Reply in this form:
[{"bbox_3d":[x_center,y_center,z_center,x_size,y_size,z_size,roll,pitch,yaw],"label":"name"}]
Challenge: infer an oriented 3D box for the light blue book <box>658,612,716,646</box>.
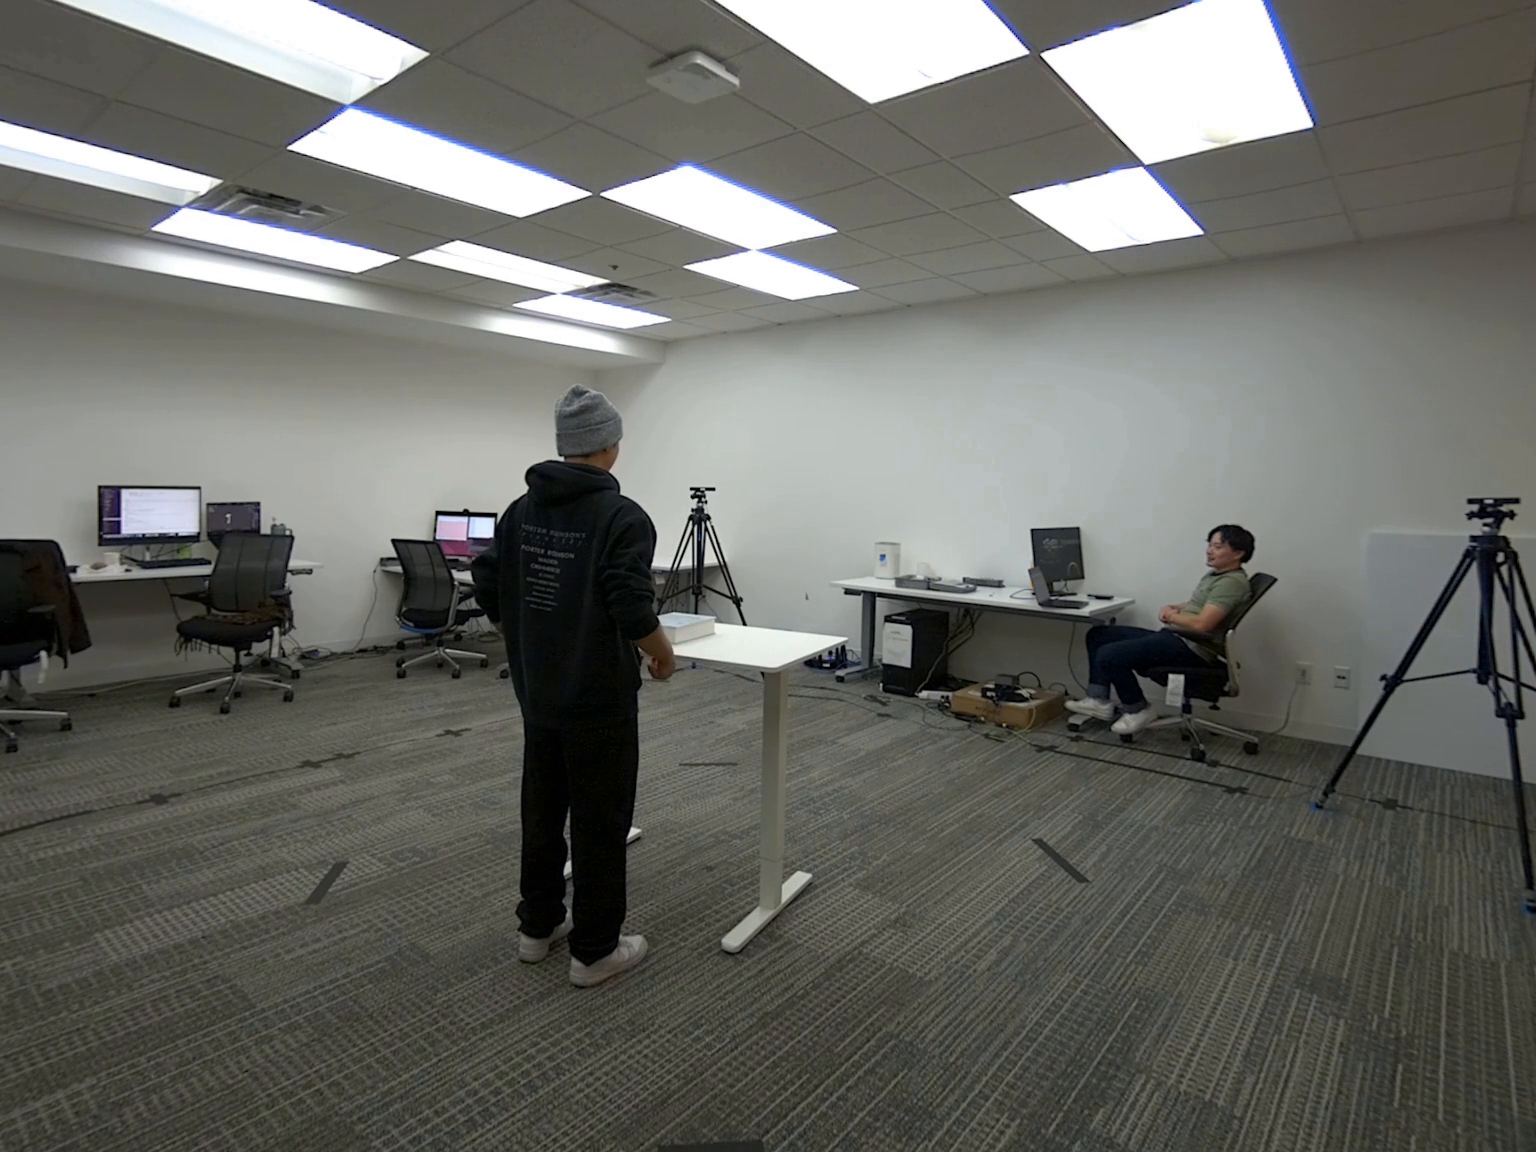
[{"bbox_3d":[-0.328,0.177,2.896,0.197,0.059,0.255,3,6,28],"label":"light blue book"}]
